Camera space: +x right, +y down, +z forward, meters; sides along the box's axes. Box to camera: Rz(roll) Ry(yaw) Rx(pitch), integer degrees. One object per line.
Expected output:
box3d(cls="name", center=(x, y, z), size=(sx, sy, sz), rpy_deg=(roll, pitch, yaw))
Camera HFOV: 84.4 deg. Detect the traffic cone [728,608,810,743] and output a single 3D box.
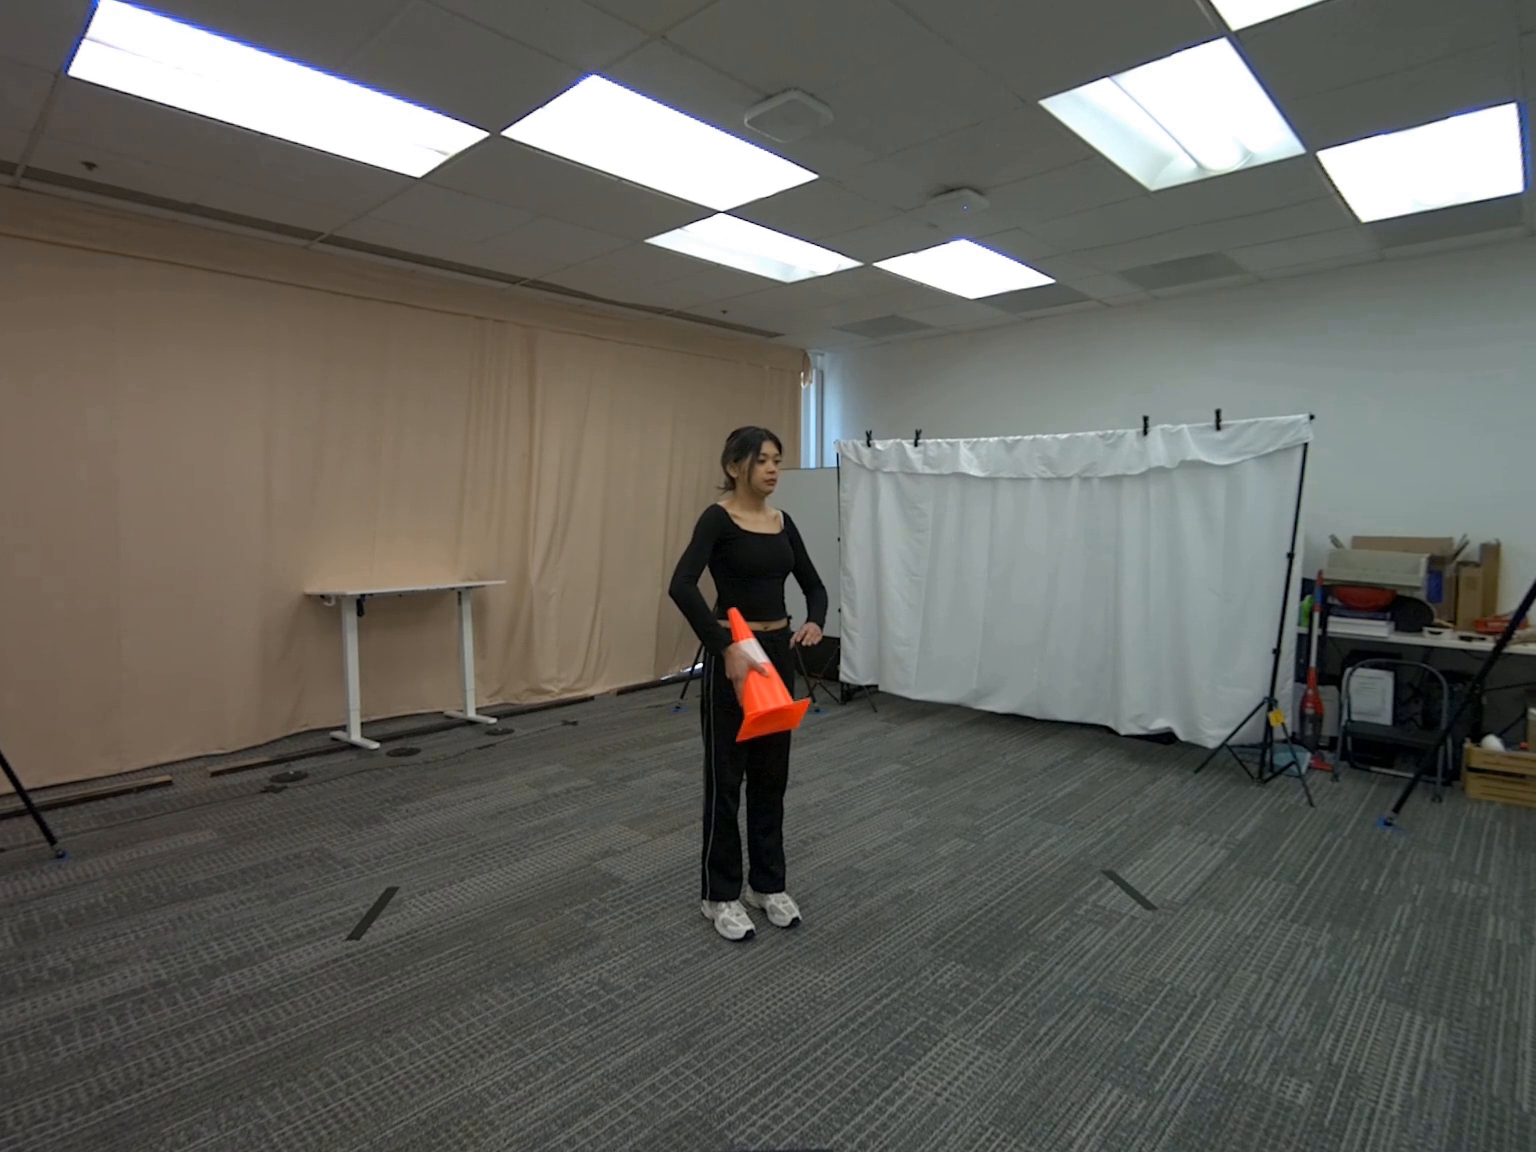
box3d(cls="traffic cone", center=(-0.050, 0.267, 2.536), size=(0.202, 0.393, 0.201), rpy_deg=(-10, -32, -16))
